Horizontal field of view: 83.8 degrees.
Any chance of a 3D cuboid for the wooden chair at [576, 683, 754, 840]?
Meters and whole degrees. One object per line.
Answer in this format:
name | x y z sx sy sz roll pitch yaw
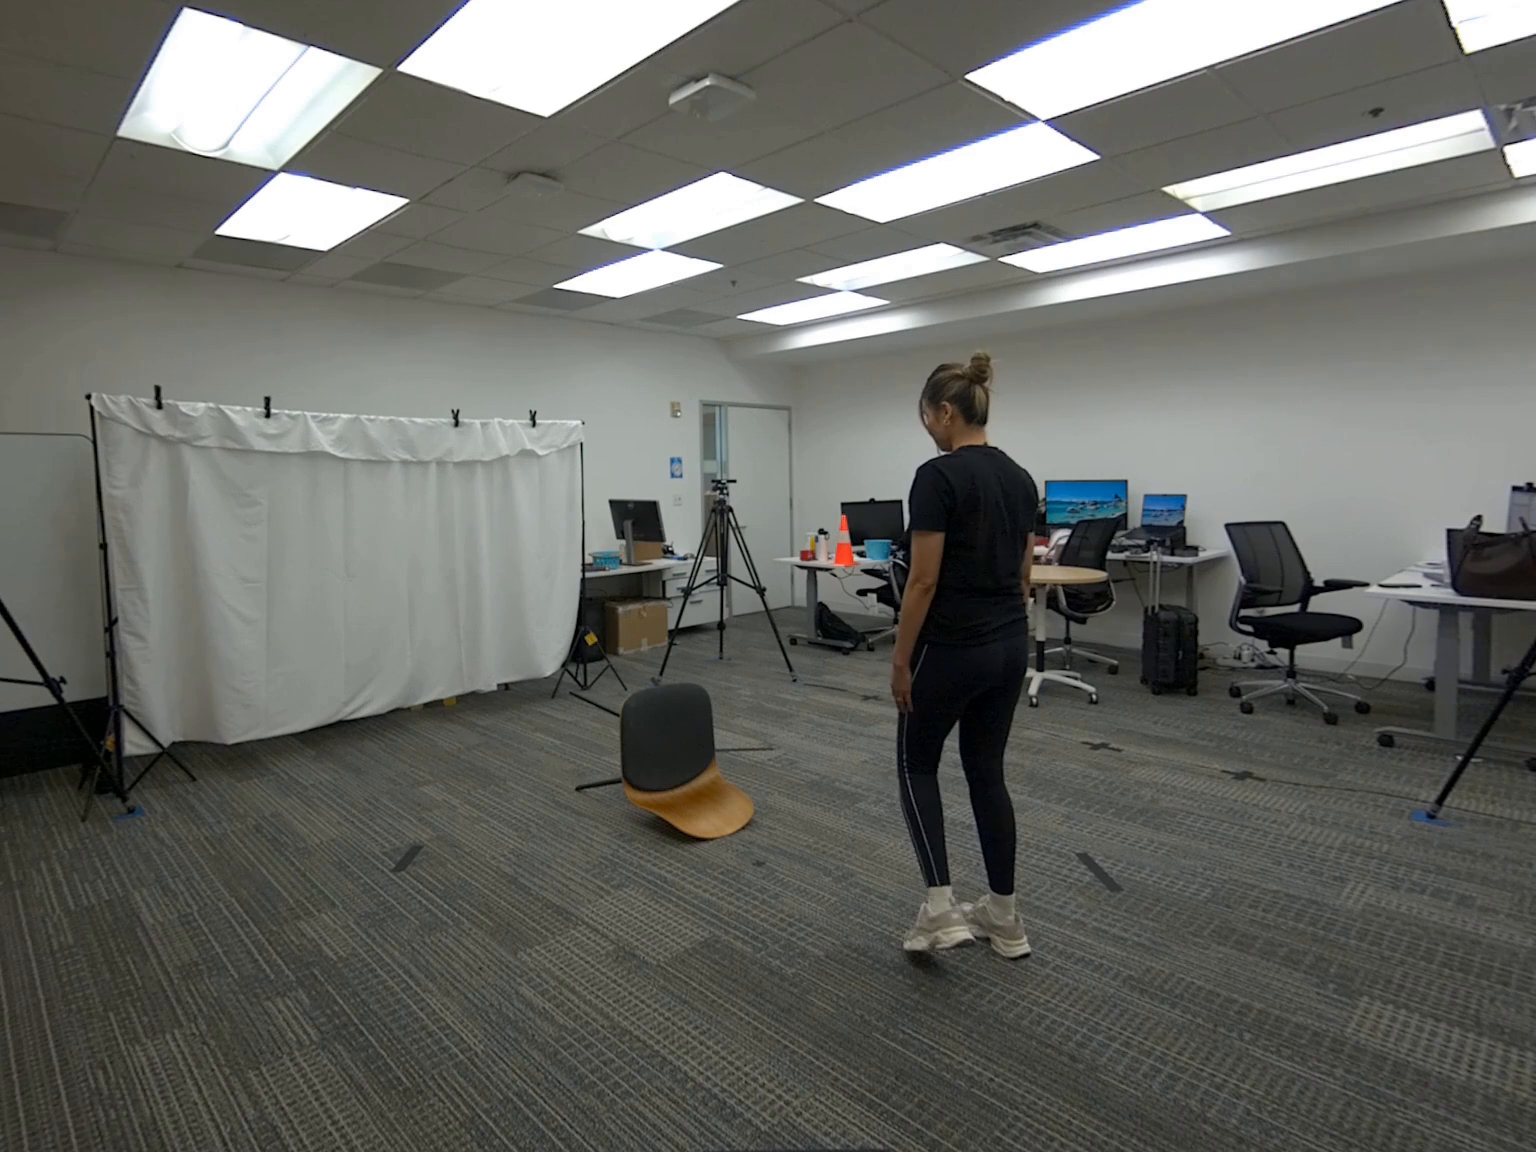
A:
wooden chair | -0.450 0.731 3.677 0.466 0.521 0.904 -4 7 -38
